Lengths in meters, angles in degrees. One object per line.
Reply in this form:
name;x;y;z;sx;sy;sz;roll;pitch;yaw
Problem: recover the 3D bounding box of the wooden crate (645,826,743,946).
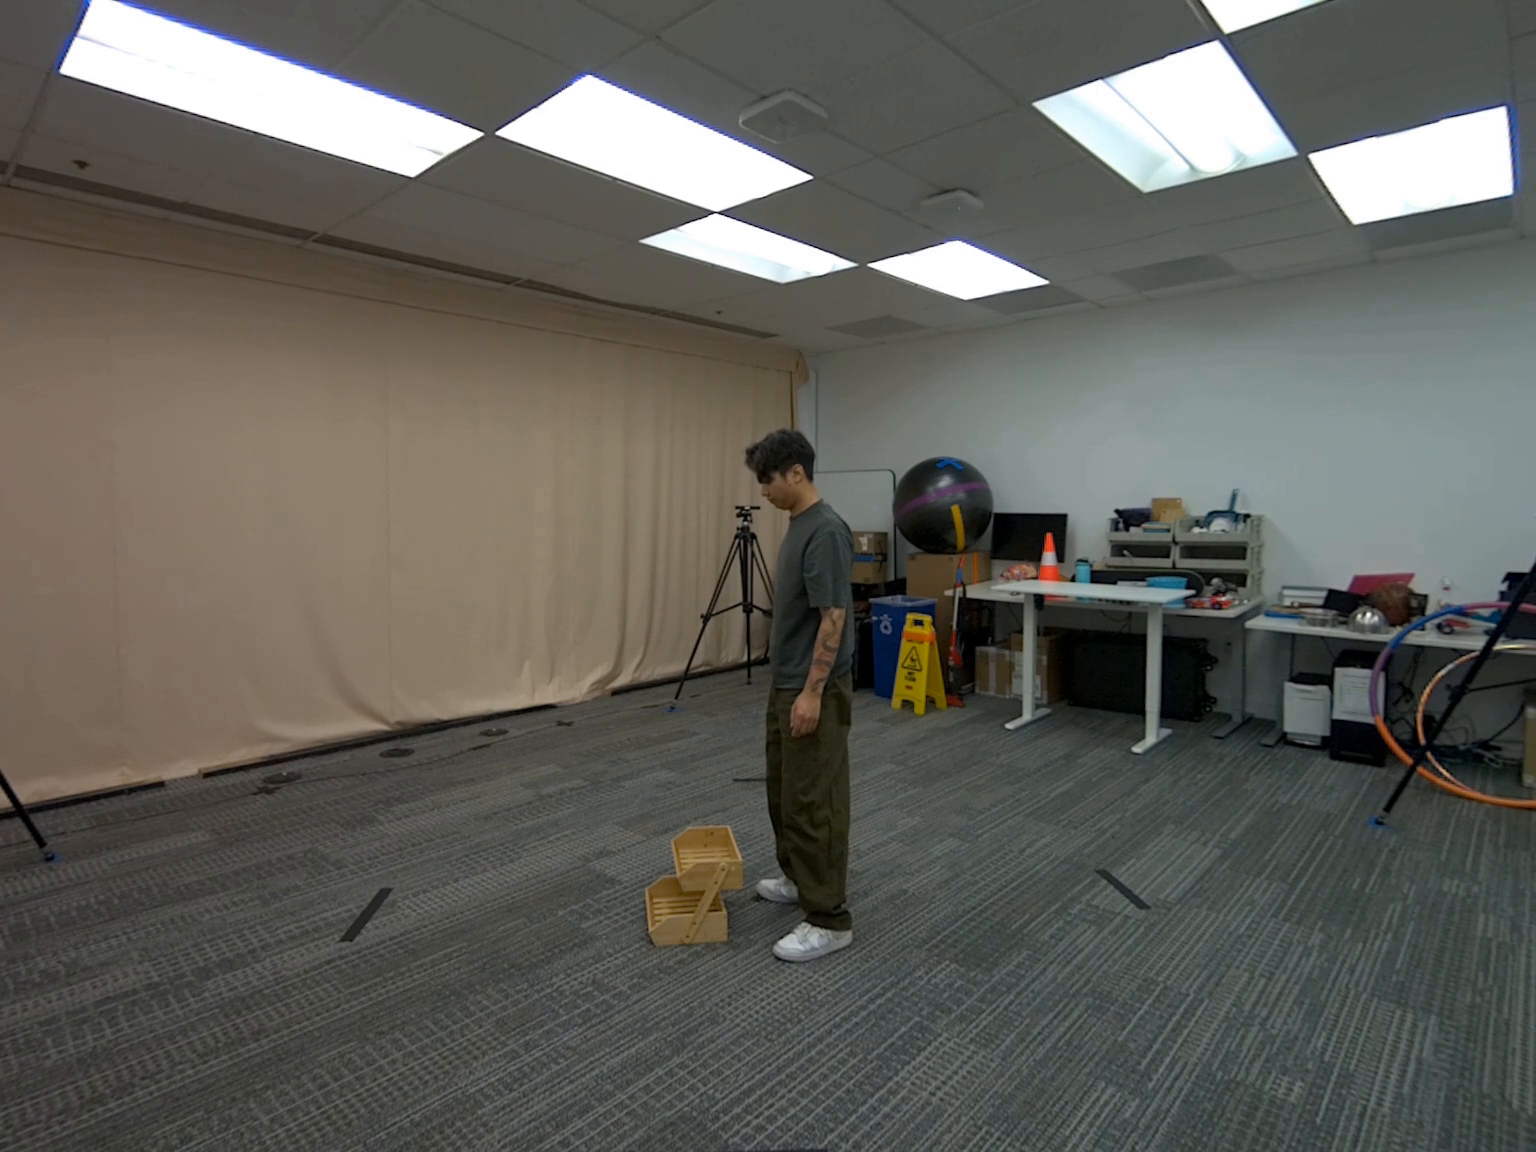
wooden crate;-0.257;1.030;2.826;0.299;0.273;0.328;-1;3;-9
